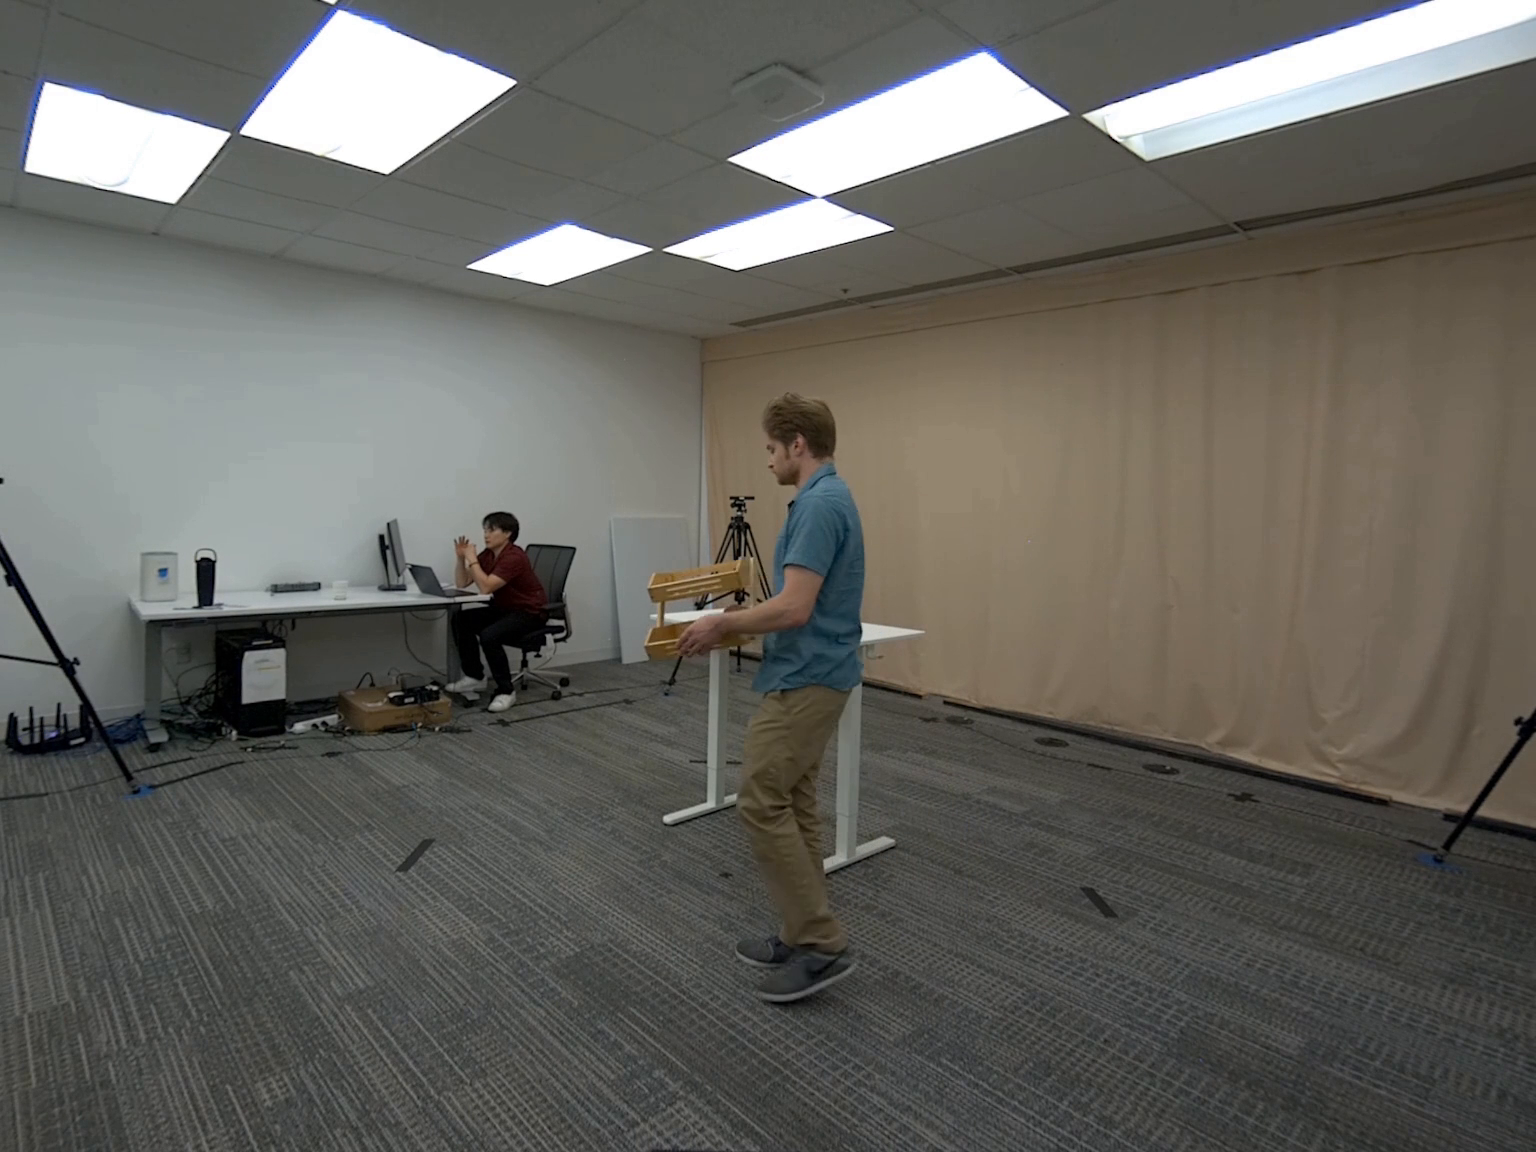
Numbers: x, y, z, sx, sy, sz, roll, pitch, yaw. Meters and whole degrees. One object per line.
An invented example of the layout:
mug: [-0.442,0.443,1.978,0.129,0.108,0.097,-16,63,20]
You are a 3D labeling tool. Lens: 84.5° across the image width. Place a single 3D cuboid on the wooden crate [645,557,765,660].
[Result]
wooden crate: [-0.208,0.095,2.595,0.328,0.274,0.297,-10,-3,18]
